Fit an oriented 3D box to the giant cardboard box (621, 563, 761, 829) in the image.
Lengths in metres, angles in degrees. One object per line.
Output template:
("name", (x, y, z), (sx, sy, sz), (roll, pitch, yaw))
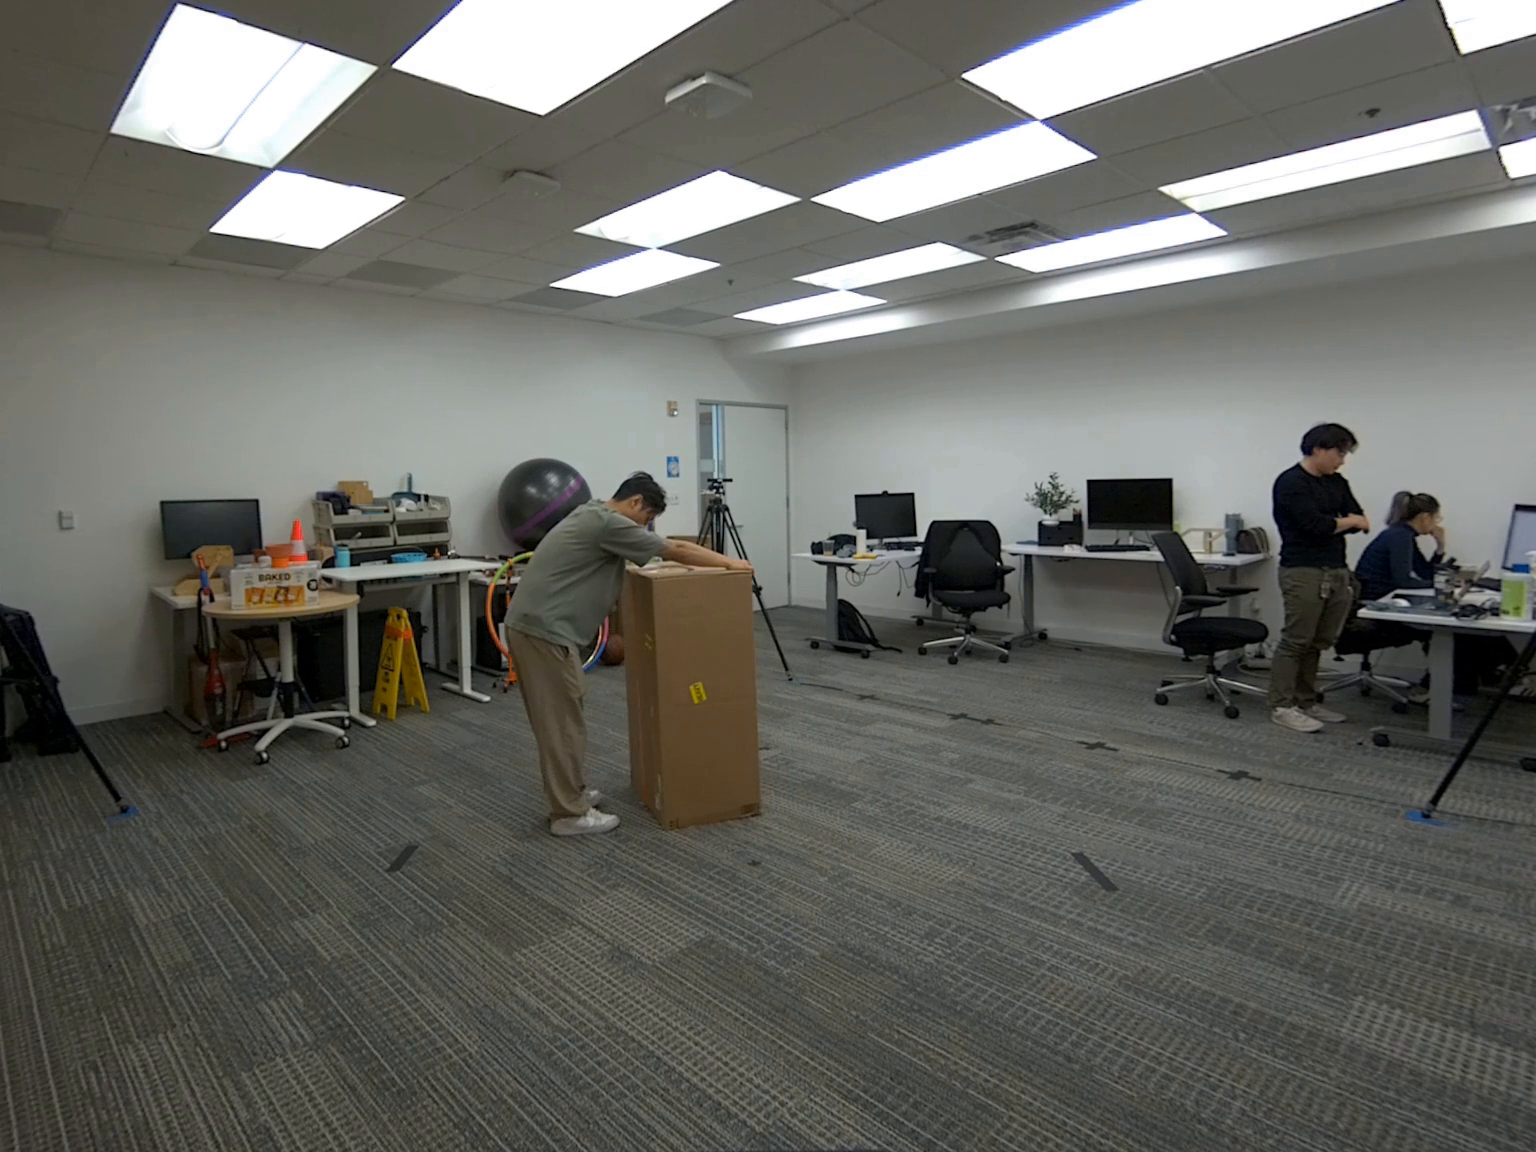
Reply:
("giant cardboard box", (-0.350, 0.469, 3.714), (0.418, 1.022, 0.590), (-4, 5, -22))
